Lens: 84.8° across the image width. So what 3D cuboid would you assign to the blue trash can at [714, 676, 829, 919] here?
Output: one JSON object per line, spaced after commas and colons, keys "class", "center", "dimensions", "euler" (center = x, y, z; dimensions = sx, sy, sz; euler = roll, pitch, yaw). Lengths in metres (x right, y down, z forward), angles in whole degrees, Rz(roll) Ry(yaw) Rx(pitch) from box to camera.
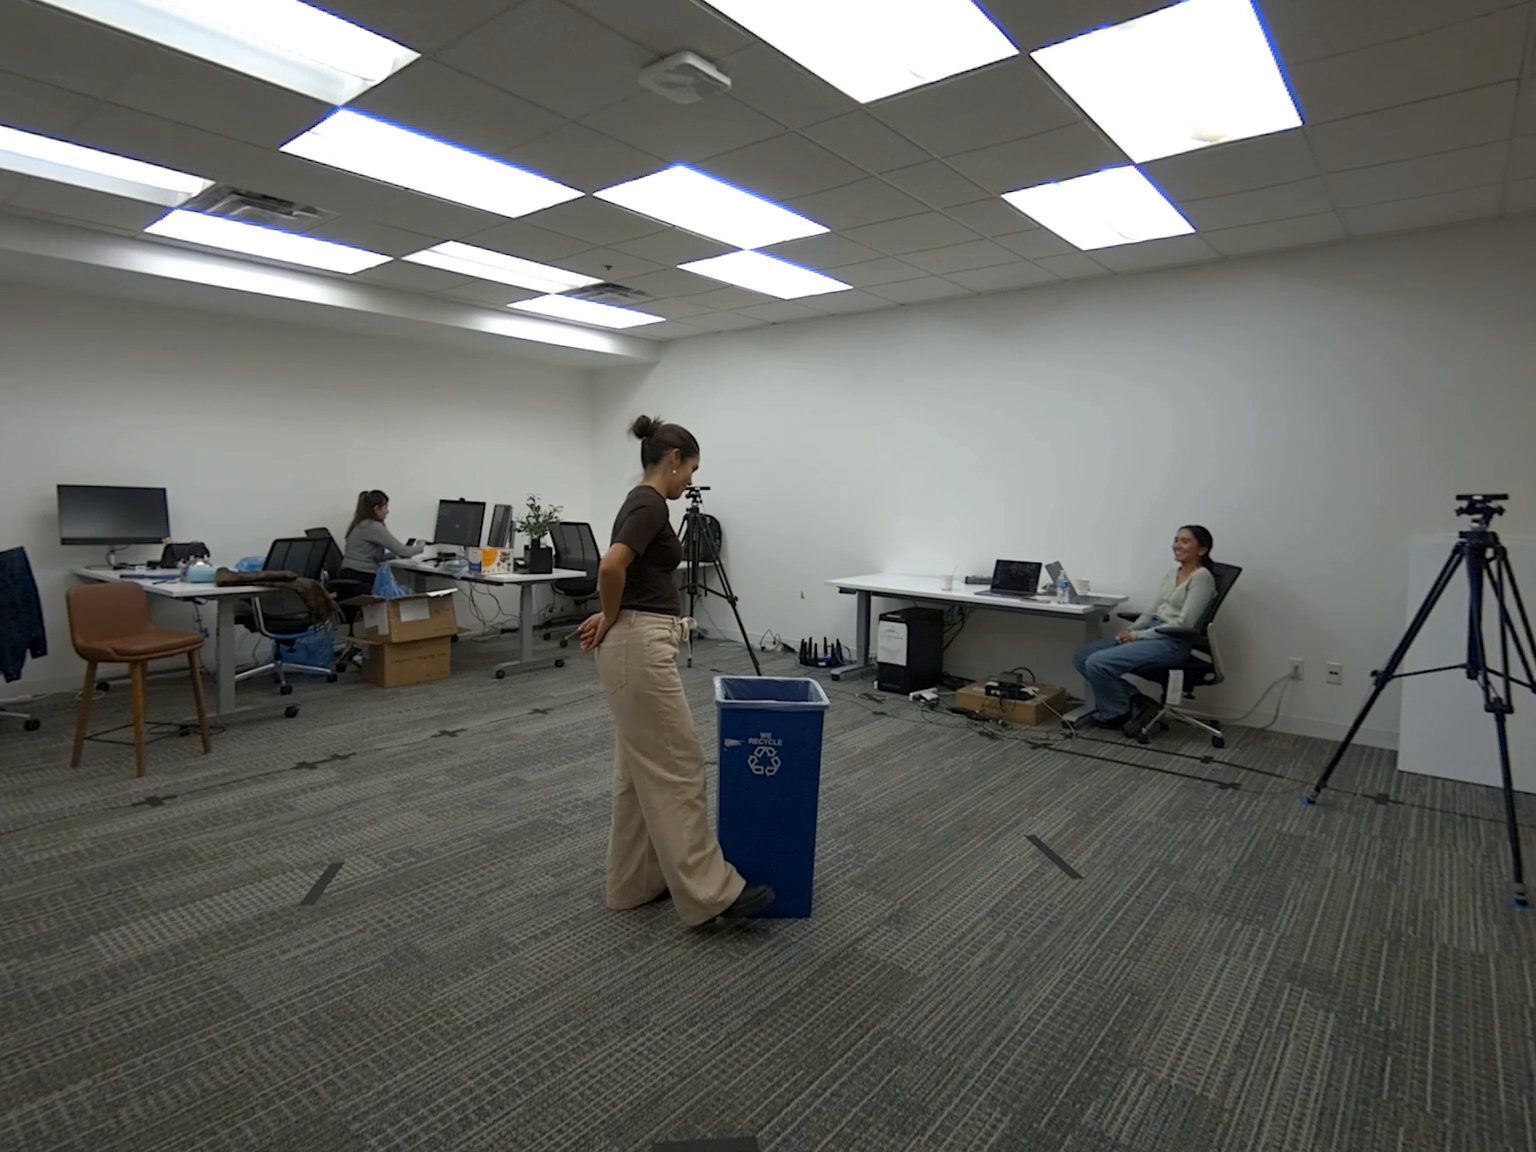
{"class": "blue trash can", "center": [-0.012, 0.737, 2.876], "dimensions": [0.377, 0.712, 0.376], "euler": [1, 3, -3]}
